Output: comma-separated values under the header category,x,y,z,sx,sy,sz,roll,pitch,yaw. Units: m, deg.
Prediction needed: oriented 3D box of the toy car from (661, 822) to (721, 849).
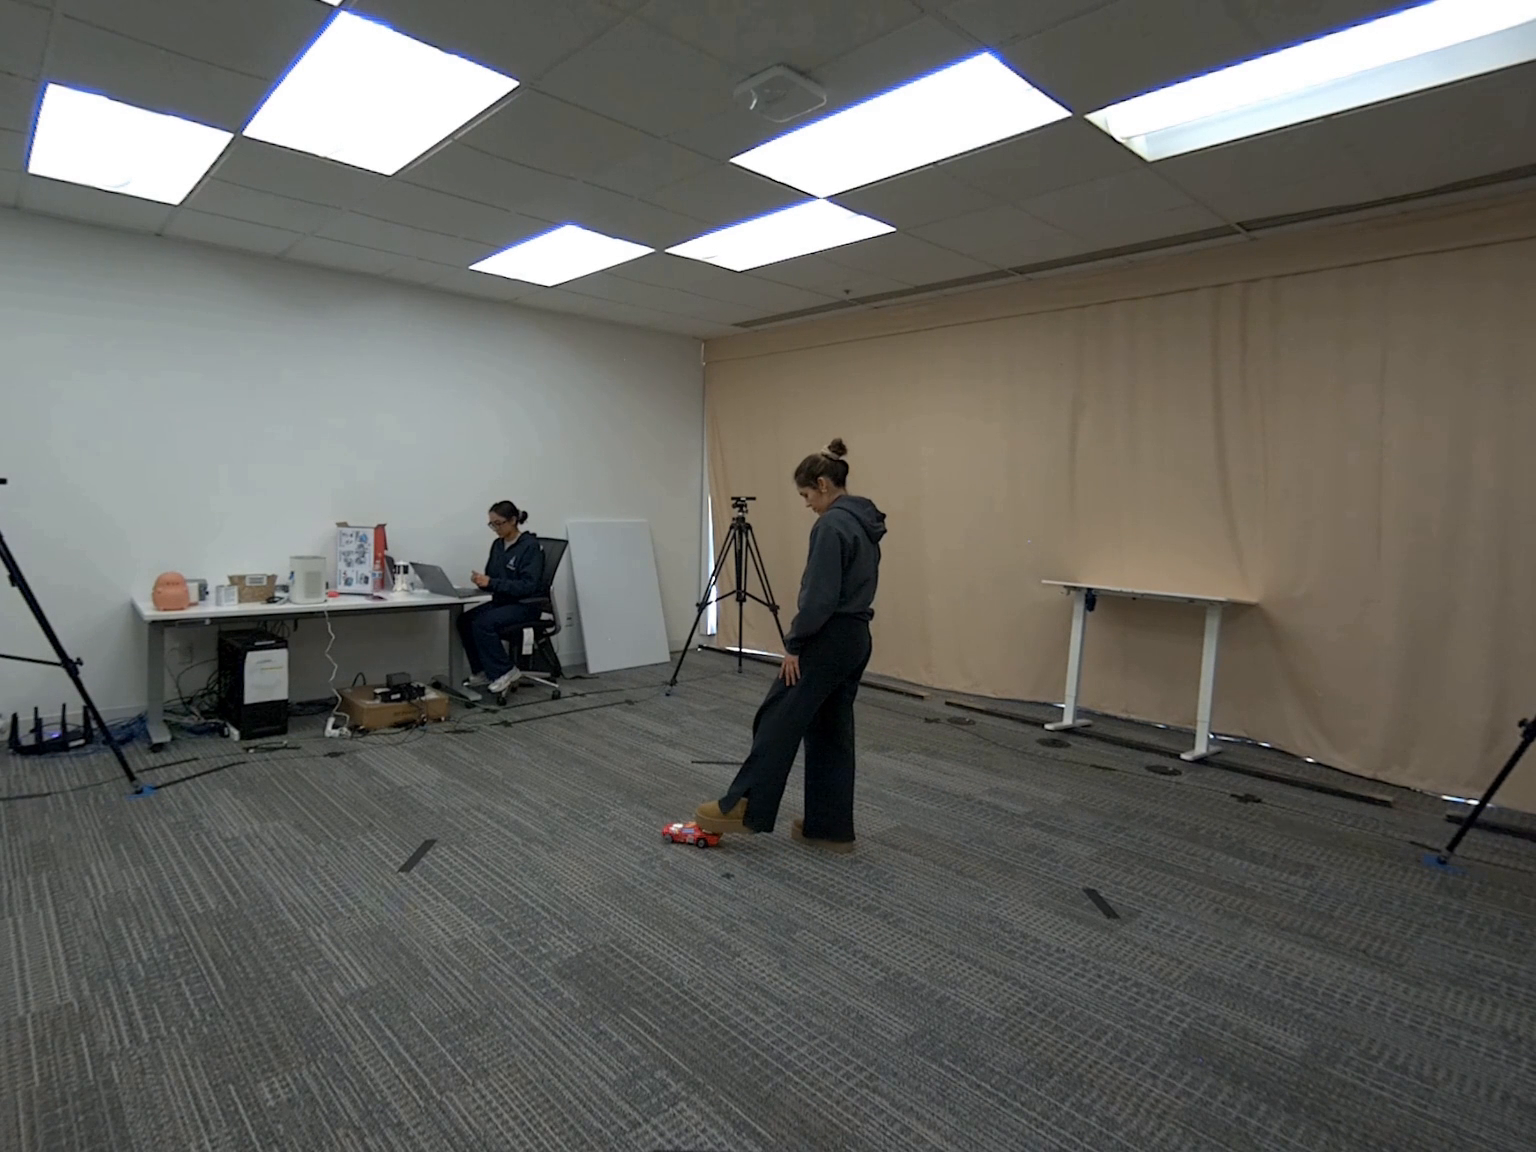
category,x,y,z,sx,sy,sz,roll,pitch,yaw
toy car,-0.307,1.039,3.425,0.257,0.083,0.129,-6,3,16
